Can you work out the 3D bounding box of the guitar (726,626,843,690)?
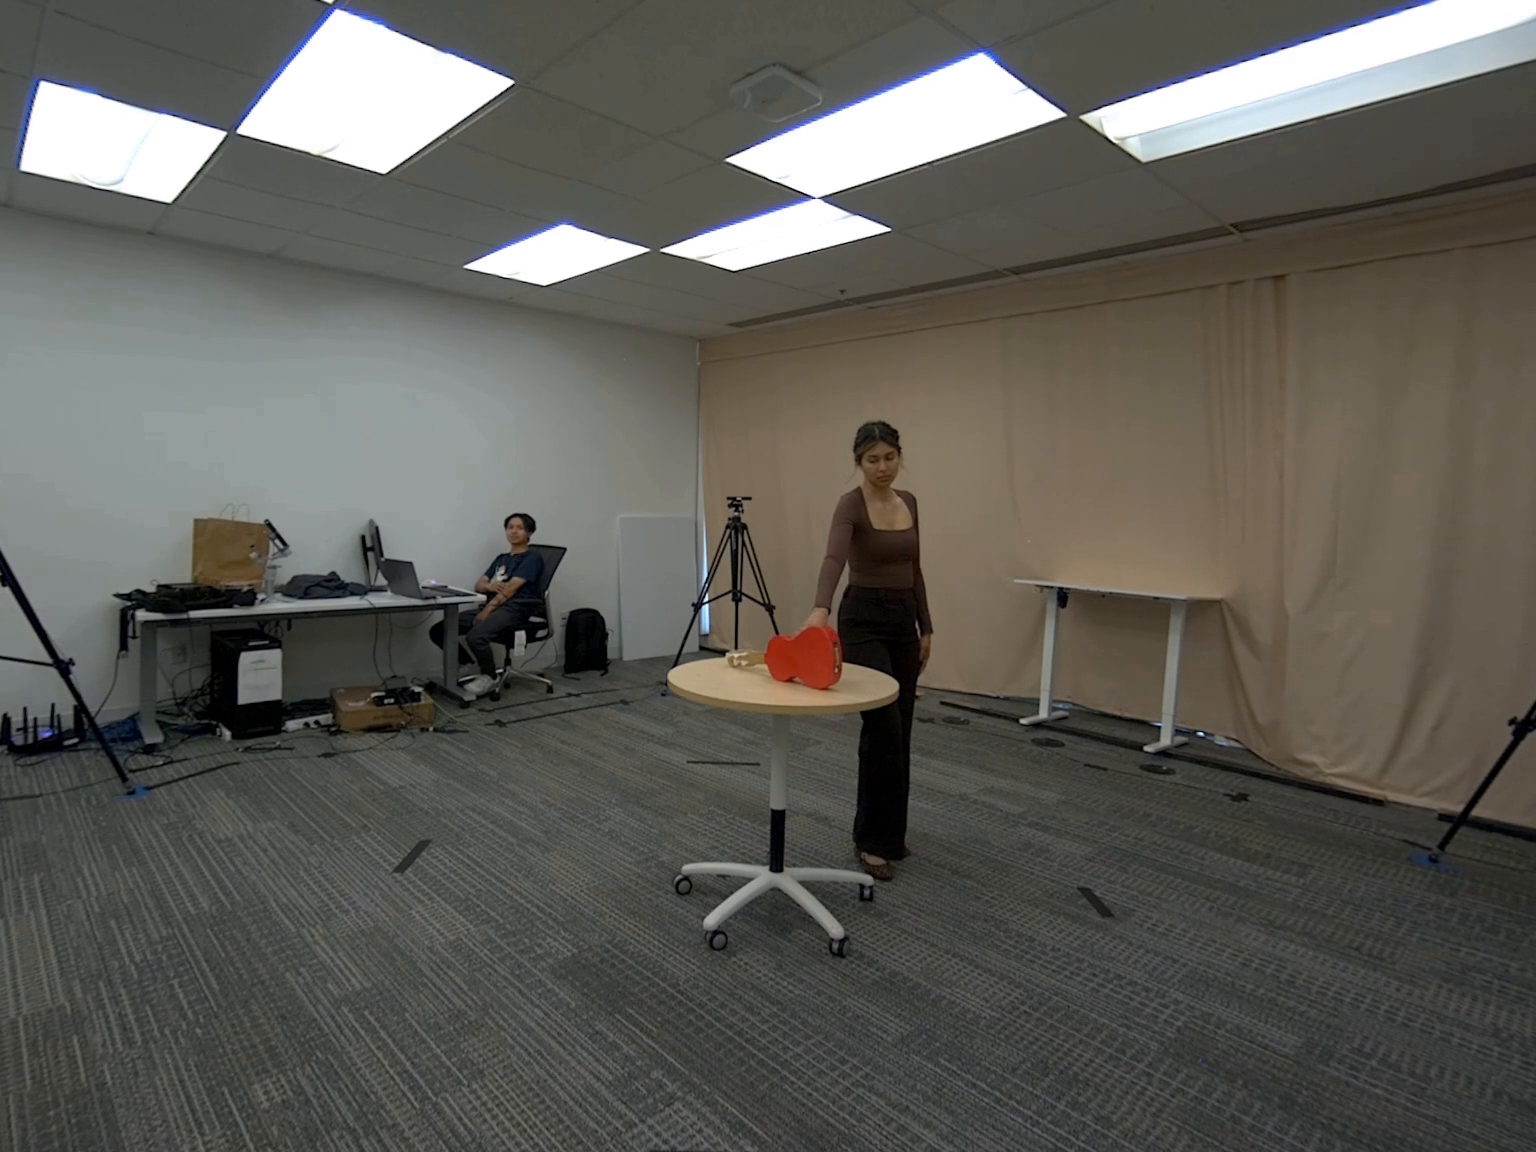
[{"bbox_3d":[0.033,0.301,2.789,0.505,0.195,0.069,-18,-12,42],"label":"guitar"}]
